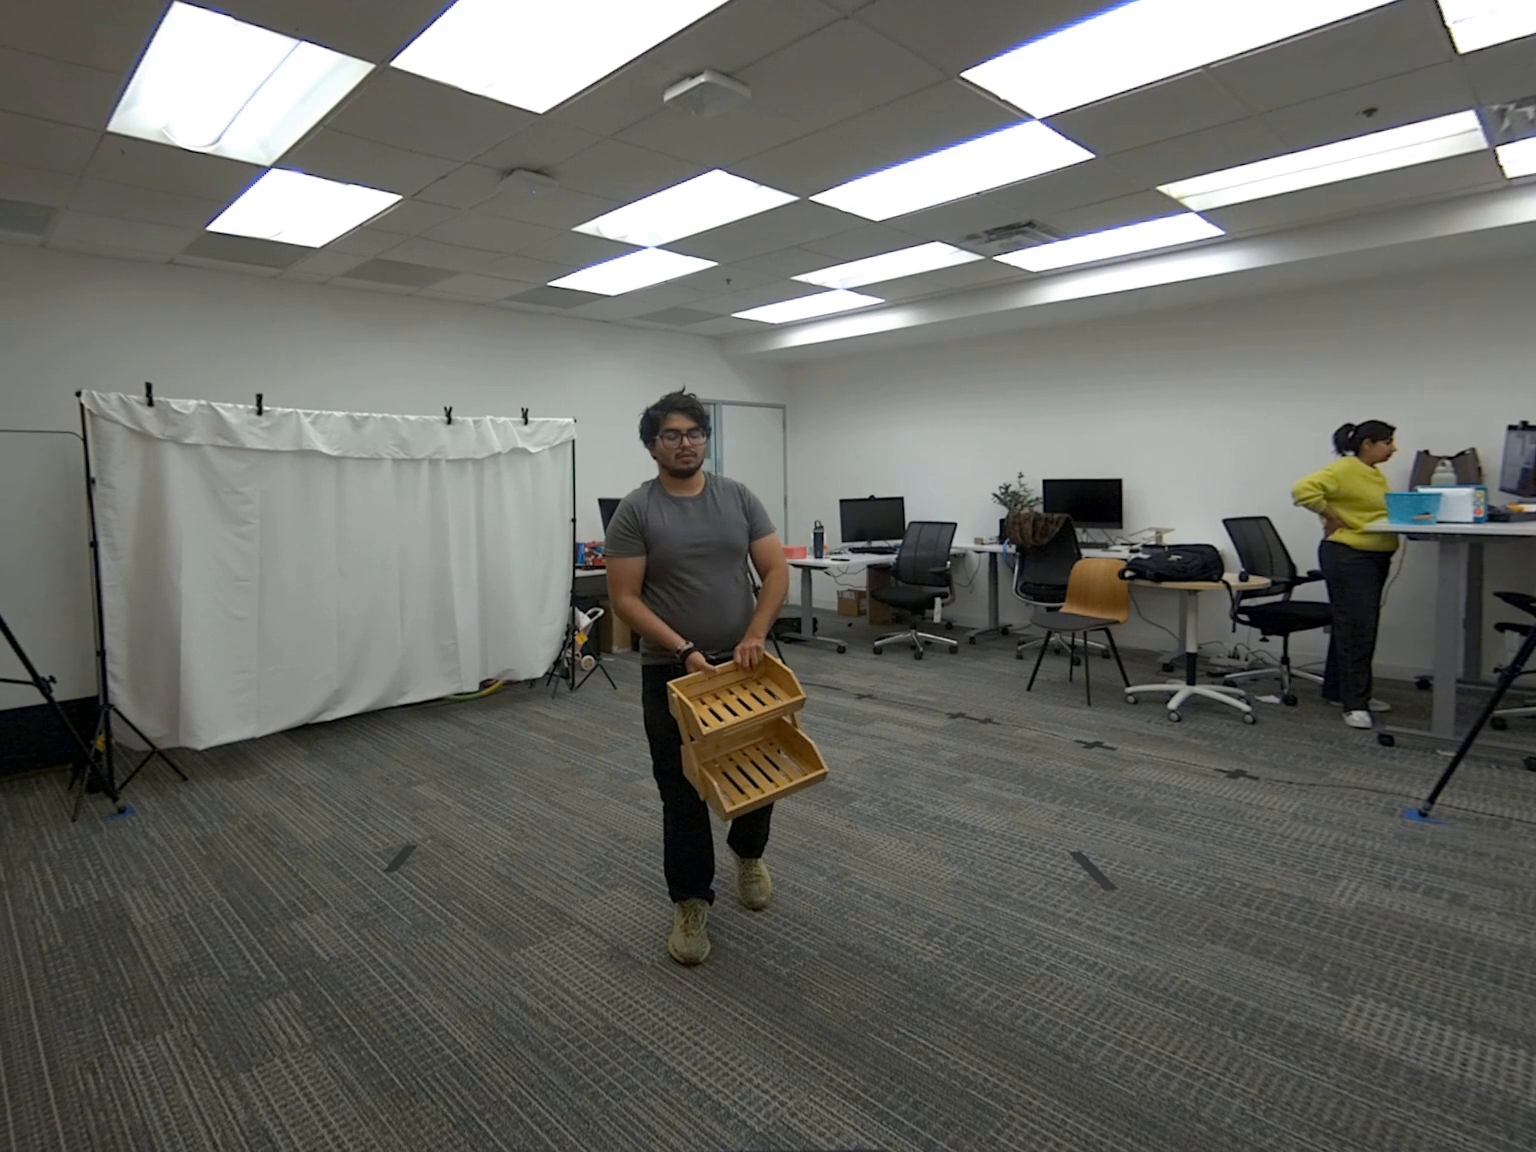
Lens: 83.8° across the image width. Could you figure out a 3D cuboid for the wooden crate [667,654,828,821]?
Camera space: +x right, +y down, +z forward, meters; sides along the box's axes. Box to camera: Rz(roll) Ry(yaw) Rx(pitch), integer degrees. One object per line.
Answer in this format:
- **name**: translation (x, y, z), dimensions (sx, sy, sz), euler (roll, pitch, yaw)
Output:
- **wooden crate**: translation (-0.045, 0.409, 2.223), dimensions (0.319, 0.268, 0.313), euler (-14, 24, -25)
